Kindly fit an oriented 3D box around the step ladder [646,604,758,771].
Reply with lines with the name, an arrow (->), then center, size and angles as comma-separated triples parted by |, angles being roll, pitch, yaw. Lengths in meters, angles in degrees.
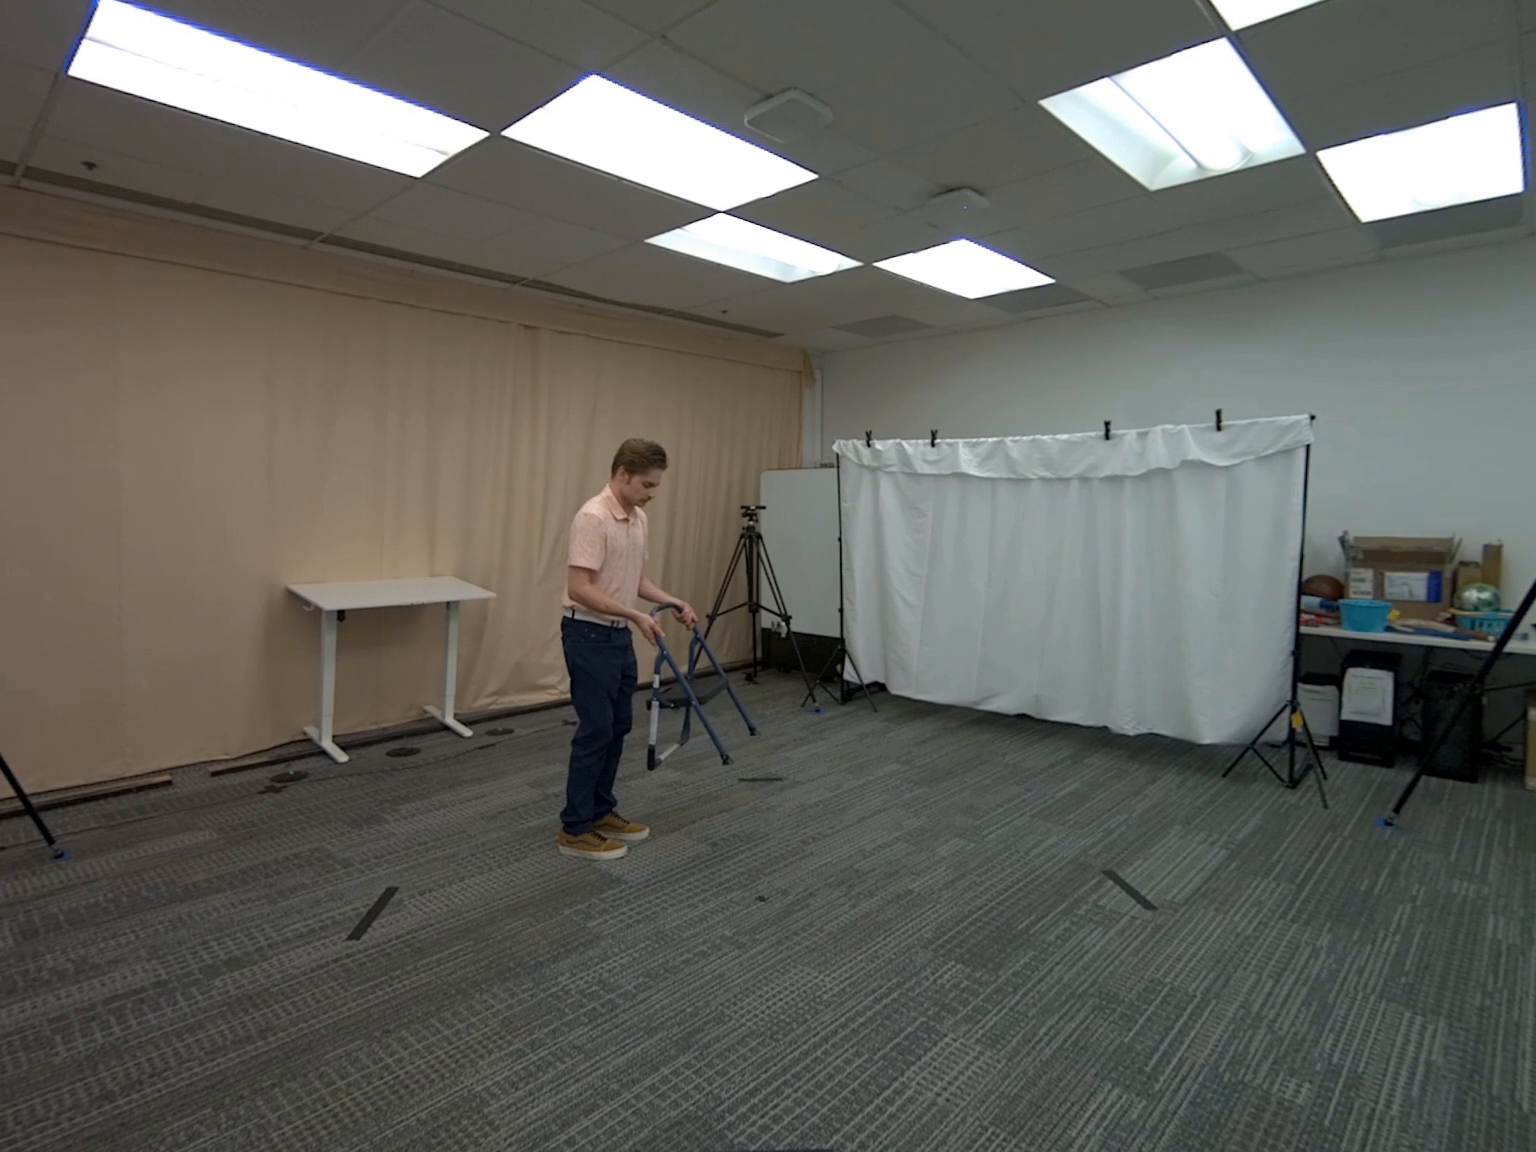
step ladder -> -0.305, 0.413, 3.353 | 0.355, 0.606, 0.424 | -10, 1, 16
